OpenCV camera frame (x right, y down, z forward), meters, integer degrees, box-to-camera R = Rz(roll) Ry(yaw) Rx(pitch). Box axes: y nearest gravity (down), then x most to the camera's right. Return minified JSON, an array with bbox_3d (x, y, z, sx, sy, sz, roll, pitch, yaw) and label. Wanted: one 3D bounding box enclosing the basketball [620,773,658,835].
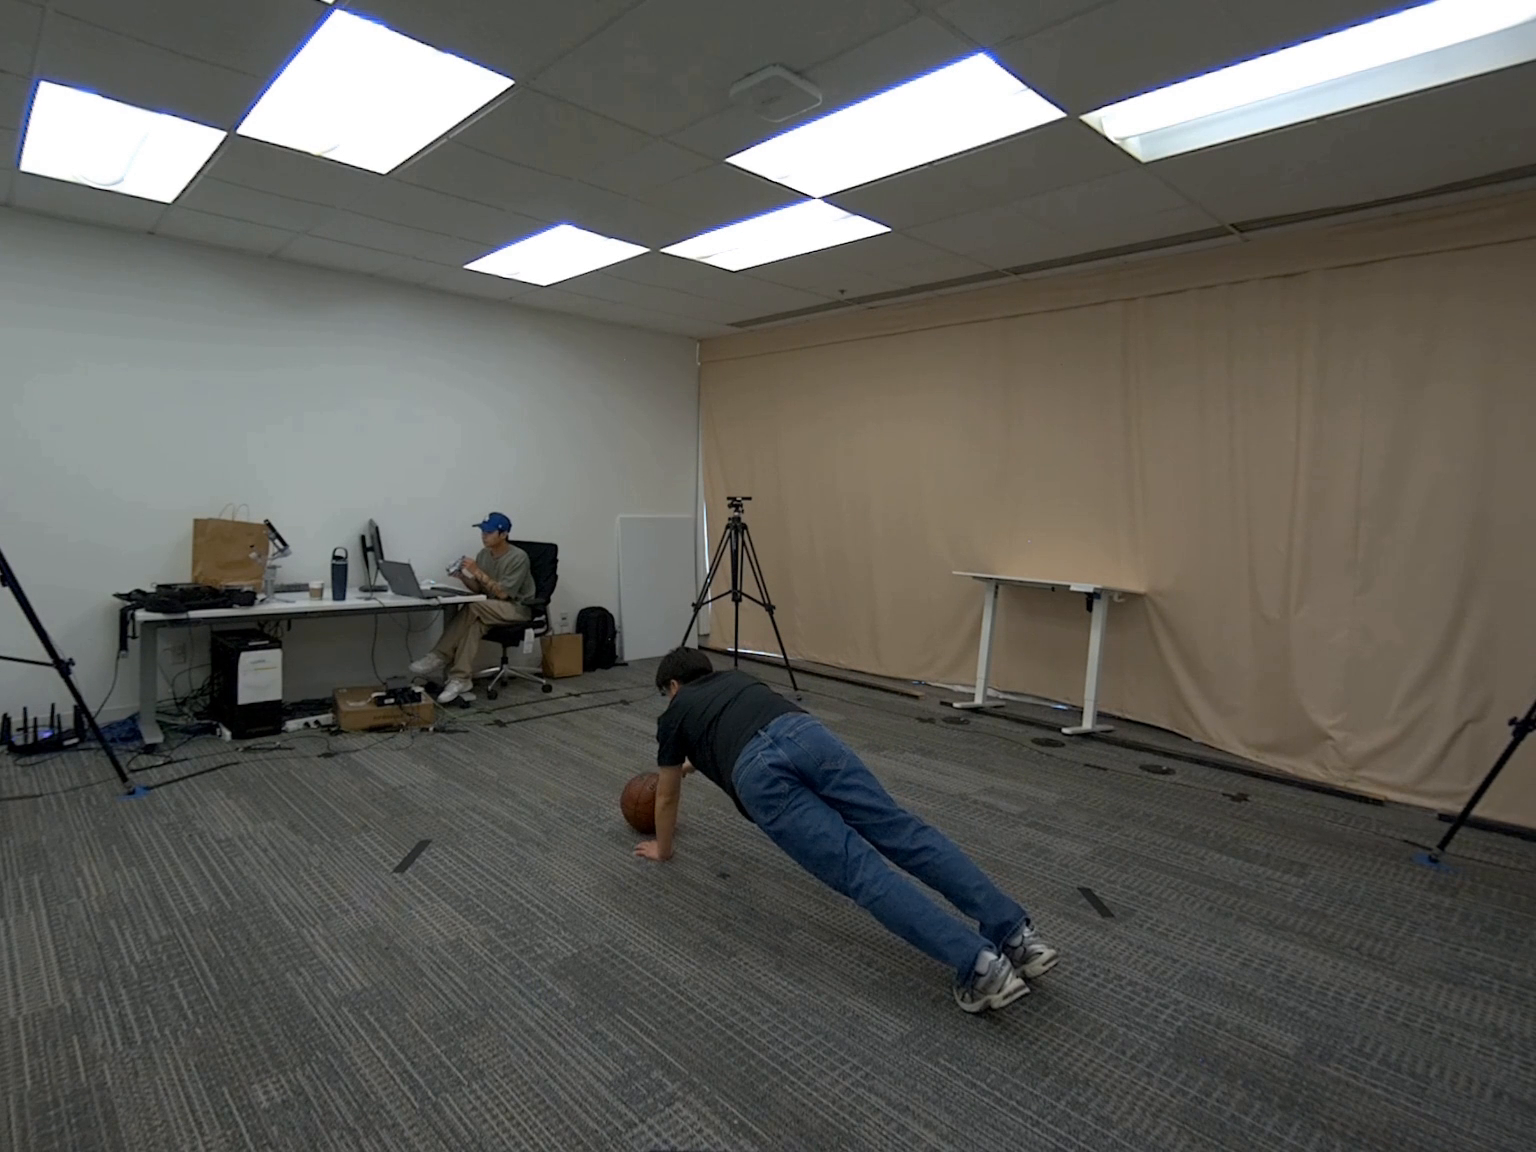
[{"bbox_3d":[-0.495,0.938,3.508,0.236,0.235,0.237,1,4,-1],"label":"basketball"}]
